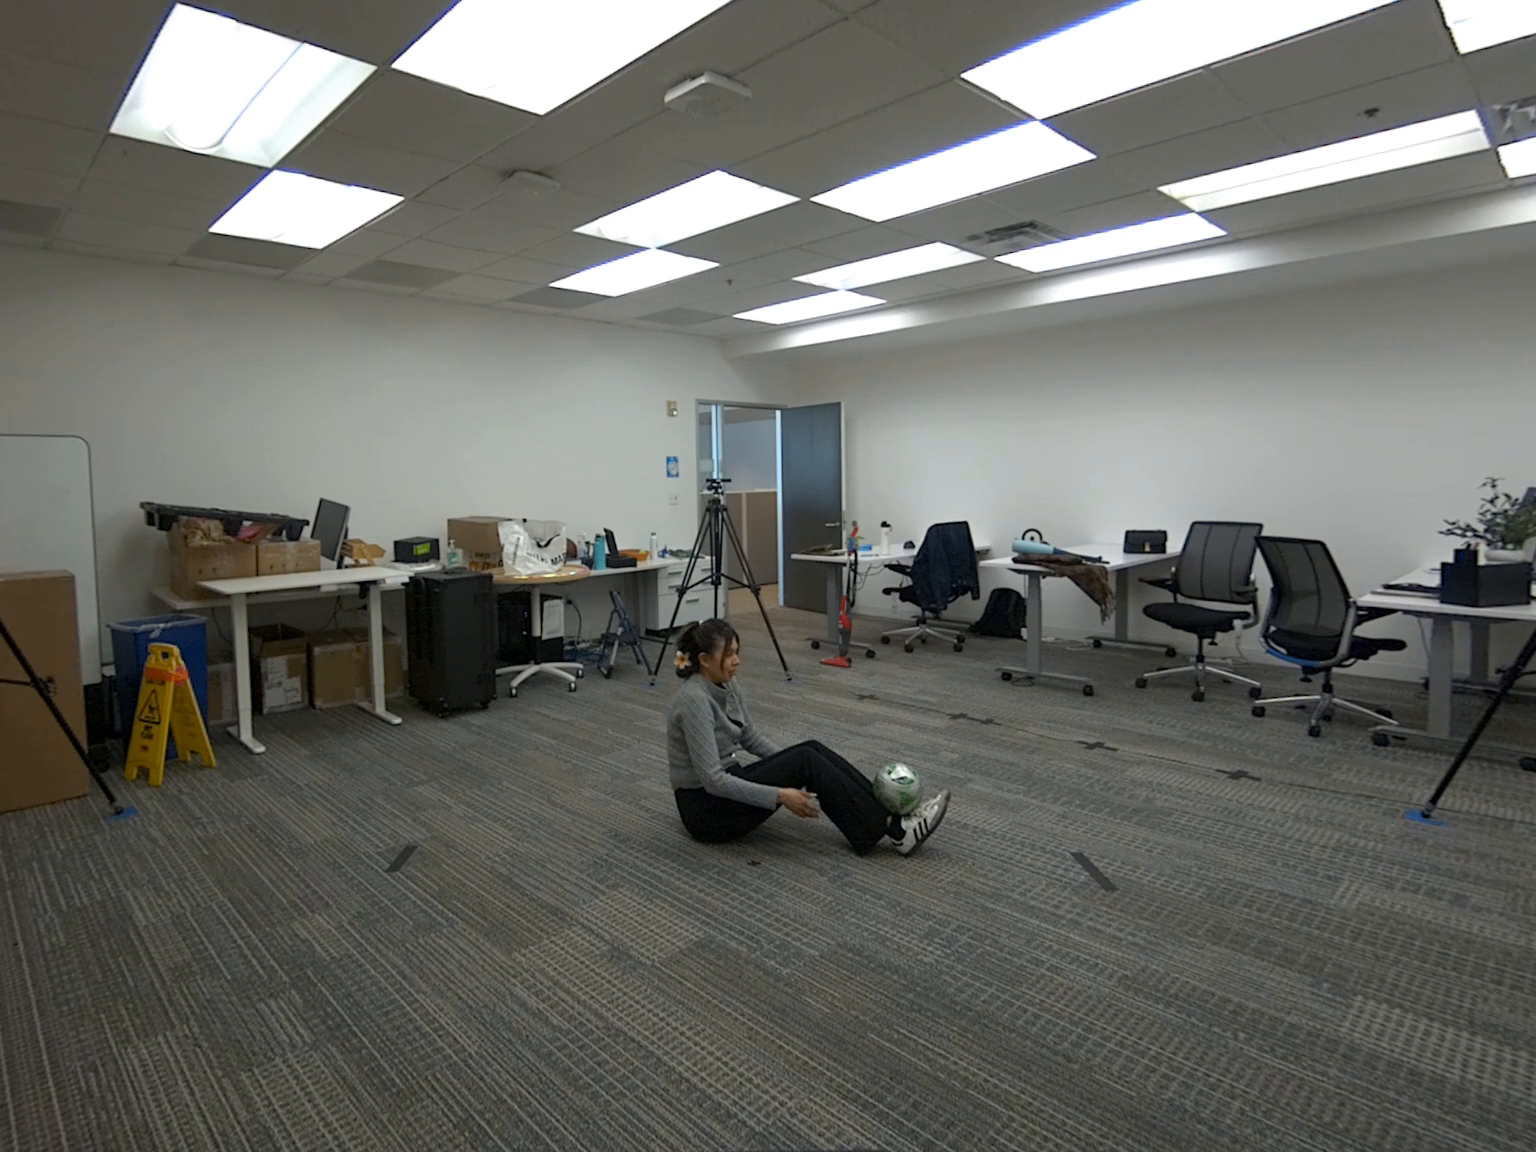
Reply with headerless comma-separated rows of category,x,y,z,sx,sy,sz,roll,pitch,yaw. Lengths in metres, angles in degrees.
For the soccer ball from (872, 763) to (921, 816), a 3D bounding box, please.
soccer ball,0.484,0.790,3.181,0.187,0.187,0.188,-1,5,-2
